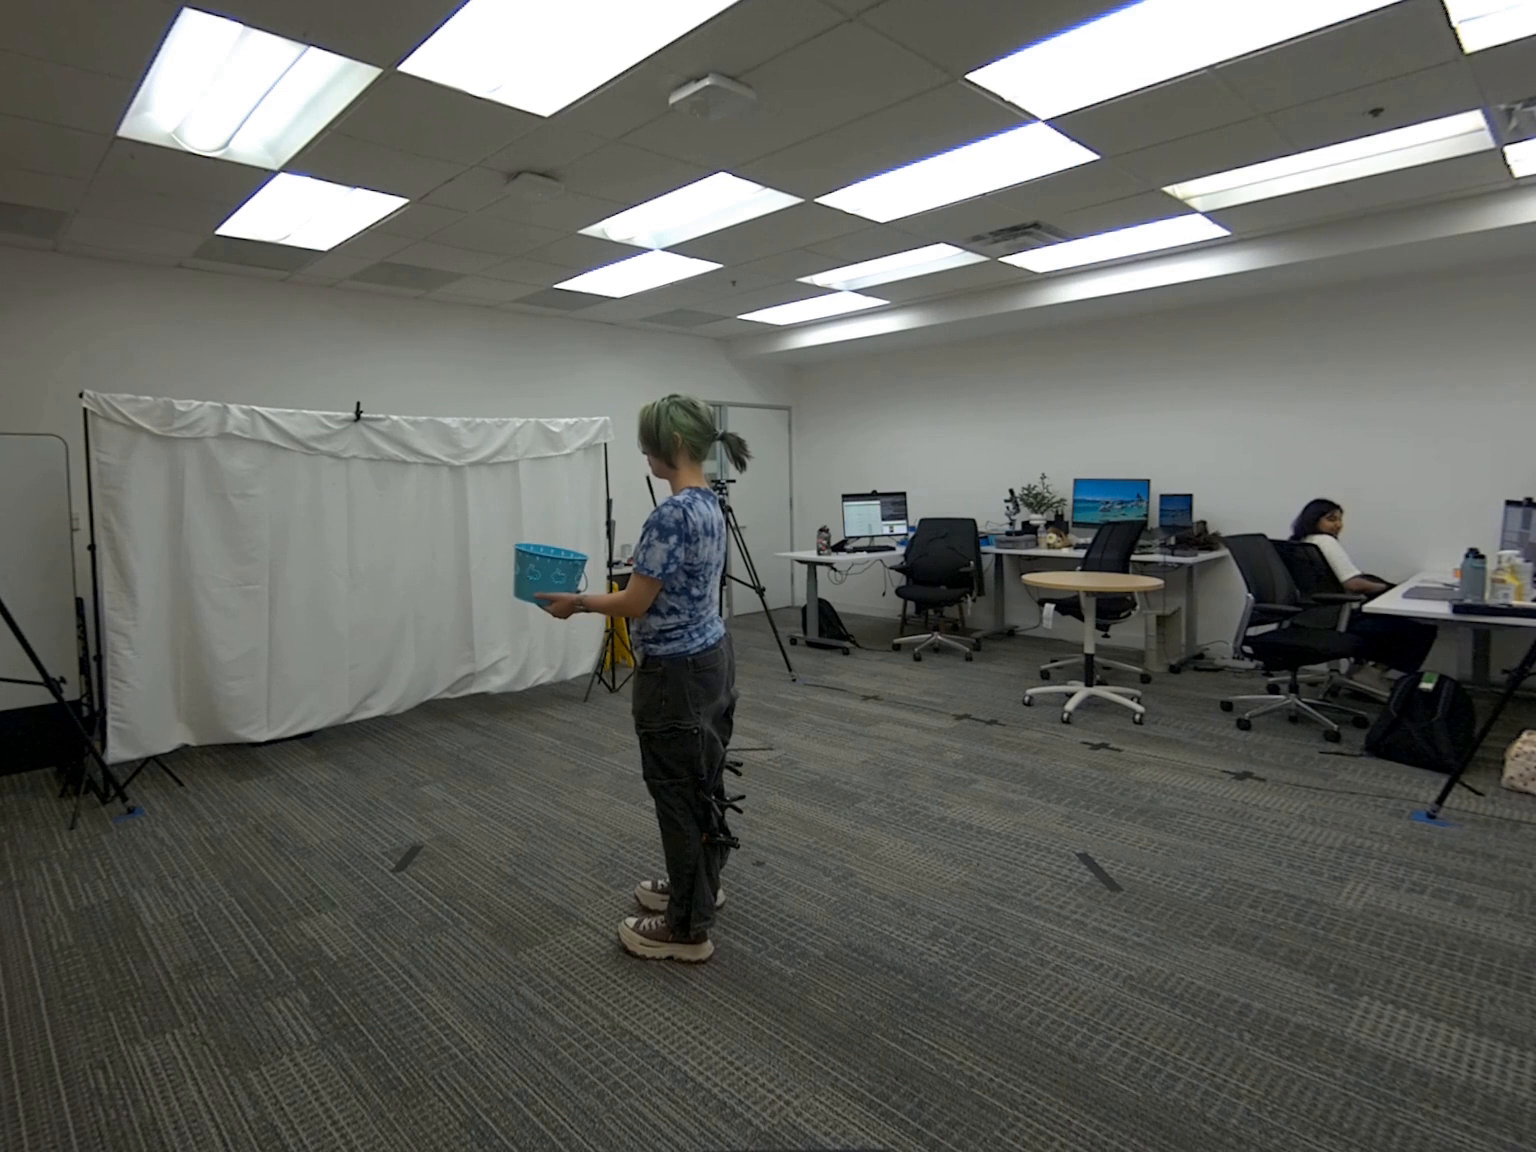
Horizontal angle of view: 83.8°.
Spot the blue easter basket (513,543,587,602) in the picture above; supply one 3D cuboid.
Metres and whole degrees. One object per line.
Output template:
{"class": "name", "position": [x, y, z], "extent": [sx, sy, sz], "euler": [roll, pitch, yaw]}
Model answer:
{"class": "blue easter basket", "position": [-0.660, -0.001, 2.588], "extent": [0.243, 0.155, 0.245], "euler": [10, 6, -3]}
